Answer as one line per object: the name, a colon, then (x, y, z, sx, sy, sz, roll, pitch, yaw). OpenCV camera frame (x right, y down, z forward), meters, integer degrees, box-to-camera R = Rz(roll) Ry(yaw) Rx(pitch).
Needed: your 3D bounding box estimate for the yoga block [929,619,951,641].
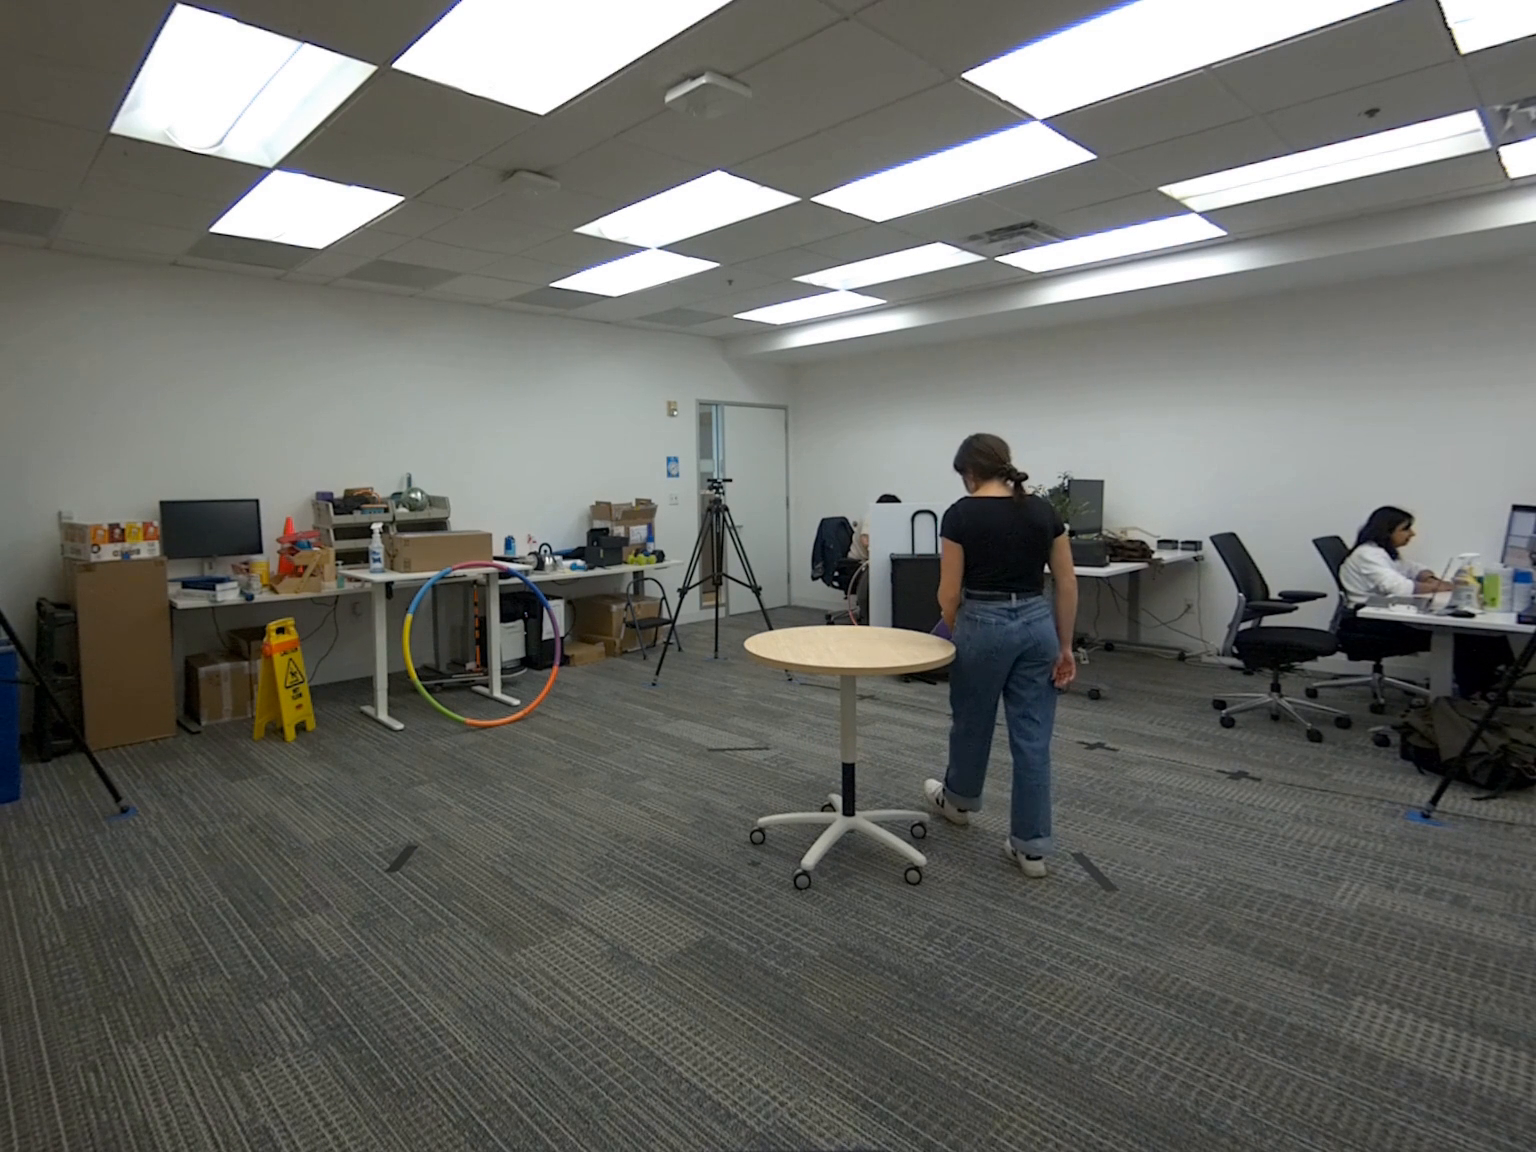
yoga block: (0.721, 0.225, 3.449, 0.078, 0.228, 0.147, 43, 27, 12)
